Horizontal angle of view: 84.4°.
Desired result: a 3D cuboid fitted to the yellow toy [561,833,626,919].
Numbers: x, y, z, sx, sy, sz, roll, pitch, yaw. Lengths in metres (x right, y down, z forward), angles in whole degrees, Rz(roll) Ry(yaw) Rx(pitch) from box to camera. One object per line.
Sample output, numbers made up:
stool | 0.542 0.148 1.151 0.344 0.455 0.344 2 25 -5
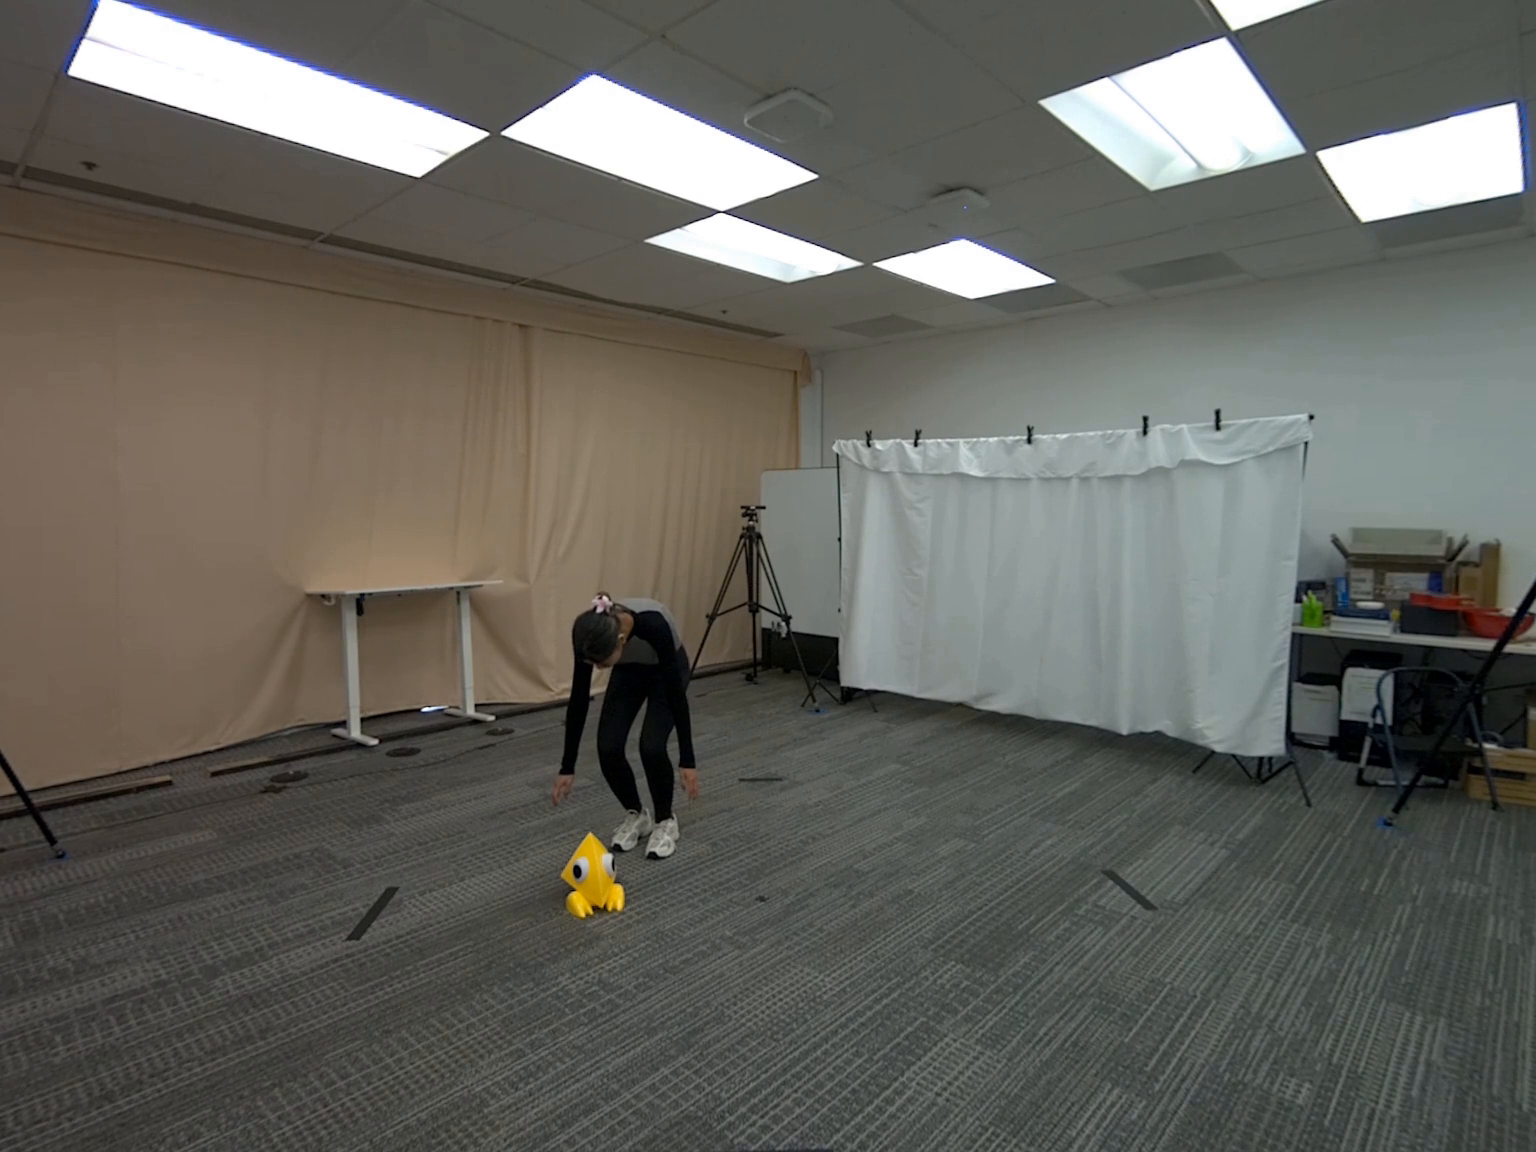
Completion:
yellow toy | -0.612 1.033 2.956 0.200 0.230 0.197 1 1 -22
